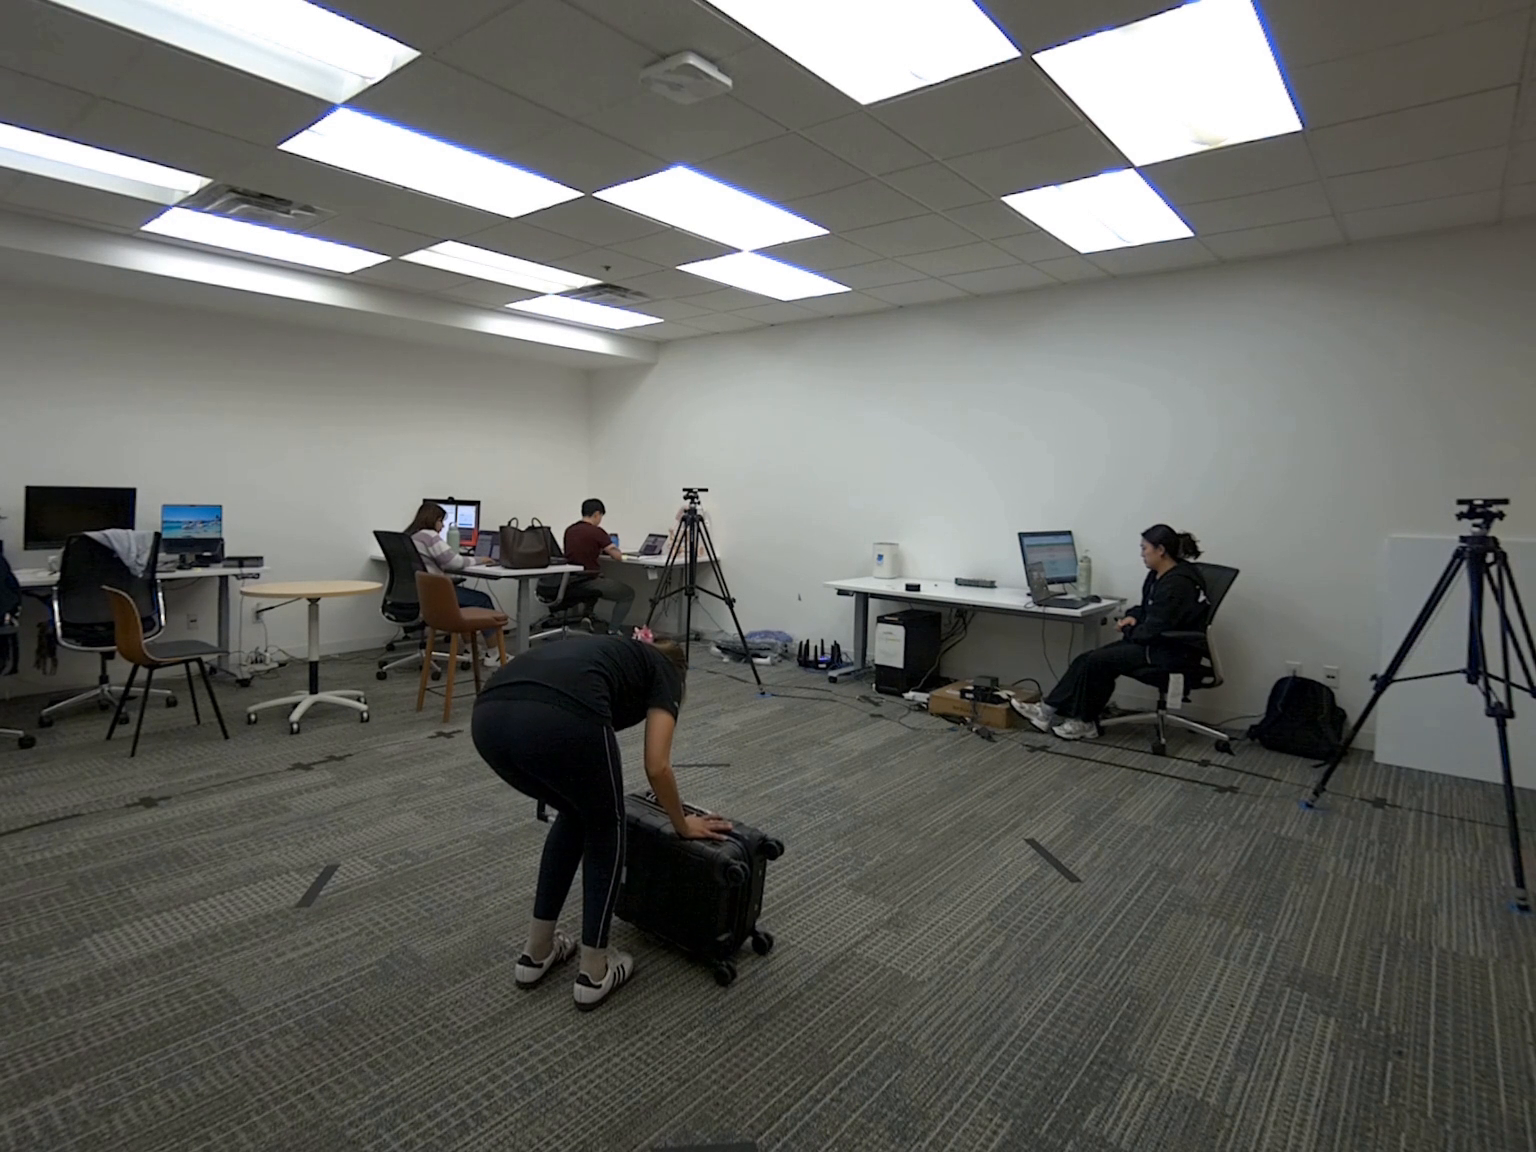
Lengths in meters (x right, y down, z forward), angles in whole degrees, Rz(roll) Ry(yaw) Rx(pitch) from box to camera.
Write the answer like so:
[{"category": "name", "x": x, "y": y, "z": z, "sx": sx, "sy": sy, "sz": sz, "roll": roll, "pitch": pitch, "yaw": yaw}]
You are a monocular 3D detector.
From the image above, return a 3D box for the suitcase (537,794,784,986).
[{"category": "suitcase", "x": -0.448, "y": 0.870, "z": 2.708, "sx": 1.010, "sy": 0.382, "sz": 0.250, "roll": 11, "pitch": 8, "yaw": 30}]
